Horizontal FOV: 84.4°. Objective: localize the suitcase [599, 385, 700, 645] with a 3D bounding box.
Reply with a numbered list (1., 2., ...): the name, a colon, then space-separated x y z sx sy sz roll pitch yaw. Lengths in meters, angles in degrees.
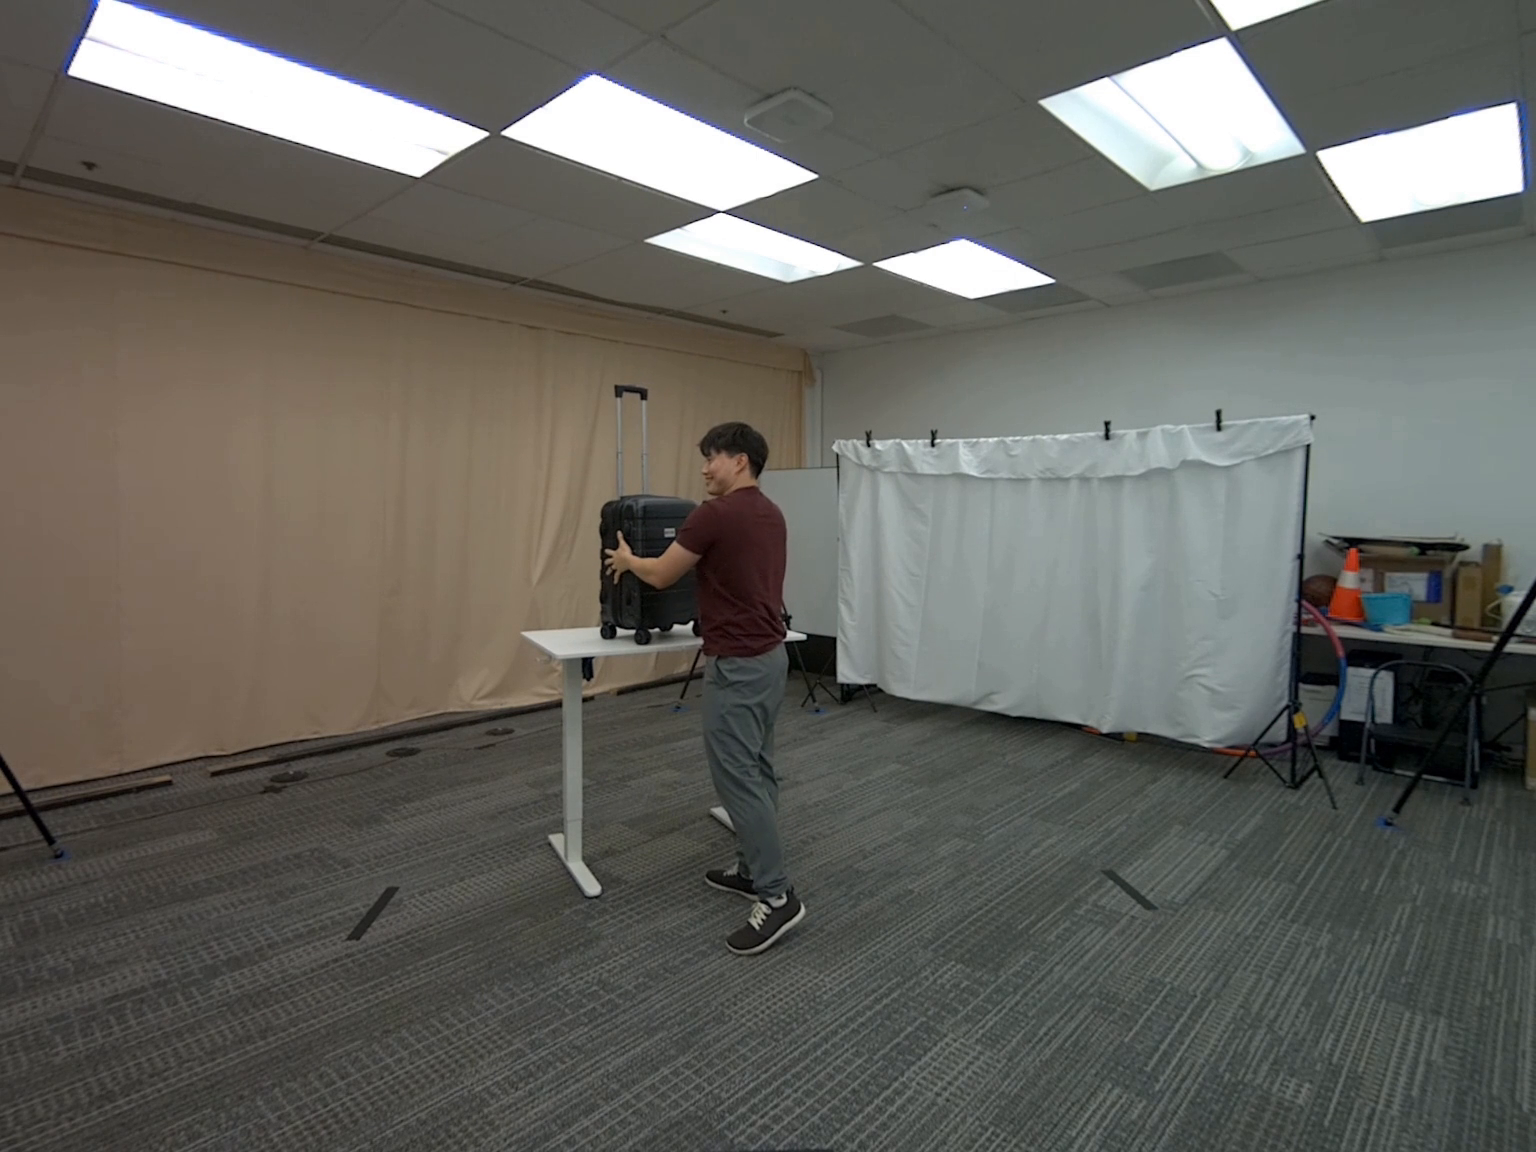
1. suitcase: -0.443 -0.242 3.266 0.265 0.976 0.372 3 5 42
